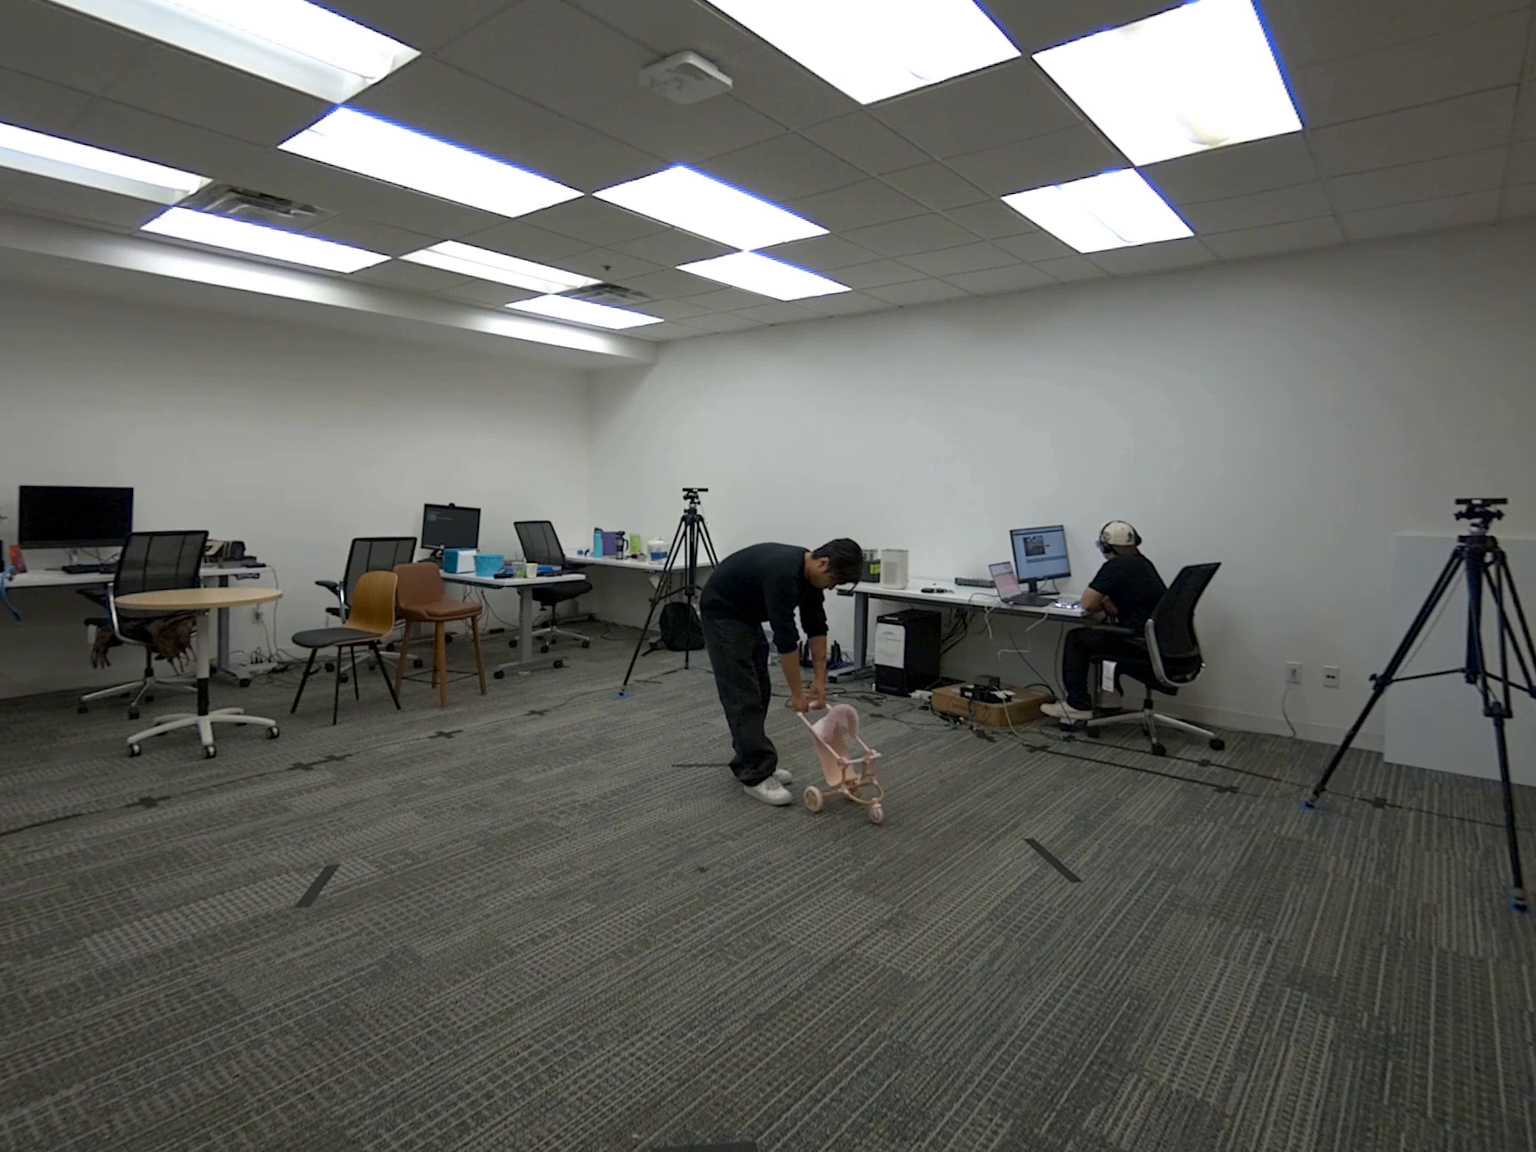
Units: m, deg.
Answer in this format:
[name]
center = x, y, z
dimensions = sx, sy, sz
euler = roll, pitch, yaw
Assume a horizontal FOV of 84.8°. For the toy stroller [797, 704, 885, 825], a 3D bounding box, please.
[toy stroller]
center = 0.321, 0.796, 3.721
dimensions = 0.273, 0.542, 0.347
euler = -2, -13, -36
